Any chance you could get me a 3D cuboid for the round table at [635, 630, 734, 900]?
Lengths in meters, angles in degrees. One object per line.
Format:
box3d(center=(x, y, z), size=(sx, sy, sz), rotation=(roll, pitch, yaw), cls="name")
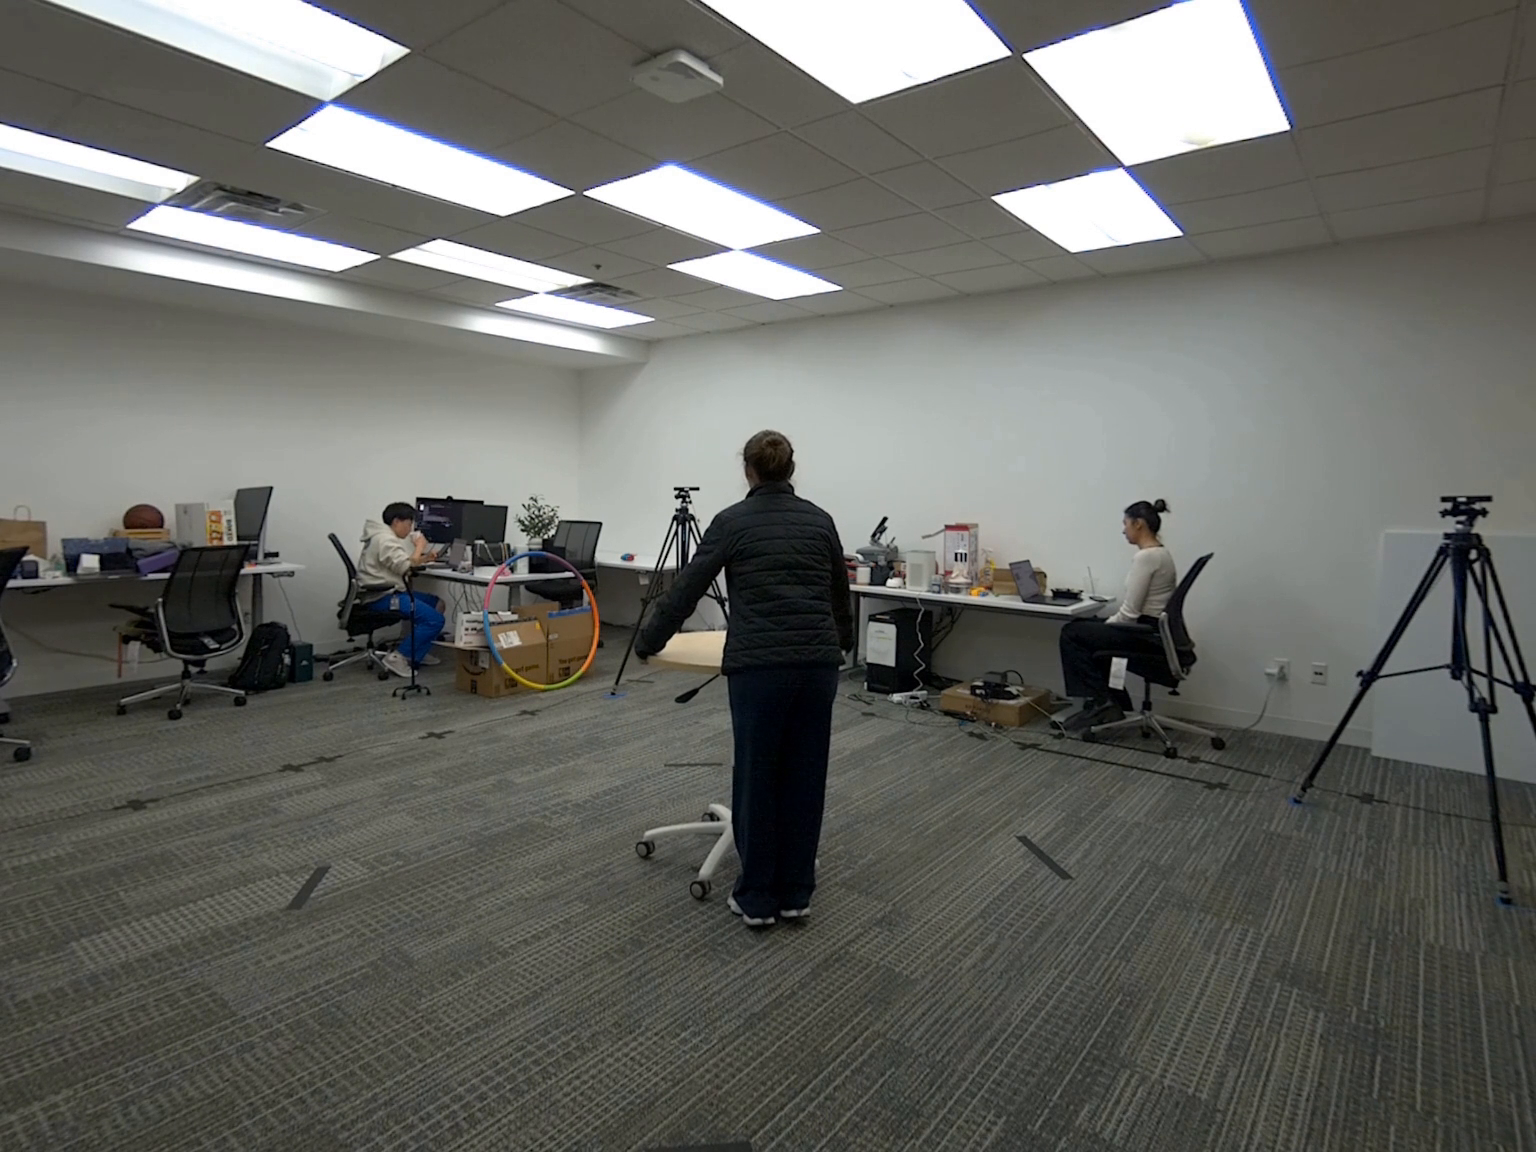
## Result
box3d(center=(-0.080, 0.654, 3.160), size=(0.784, 0.784, 0.789), rotation=(0, 4, -2), cls="round table")
